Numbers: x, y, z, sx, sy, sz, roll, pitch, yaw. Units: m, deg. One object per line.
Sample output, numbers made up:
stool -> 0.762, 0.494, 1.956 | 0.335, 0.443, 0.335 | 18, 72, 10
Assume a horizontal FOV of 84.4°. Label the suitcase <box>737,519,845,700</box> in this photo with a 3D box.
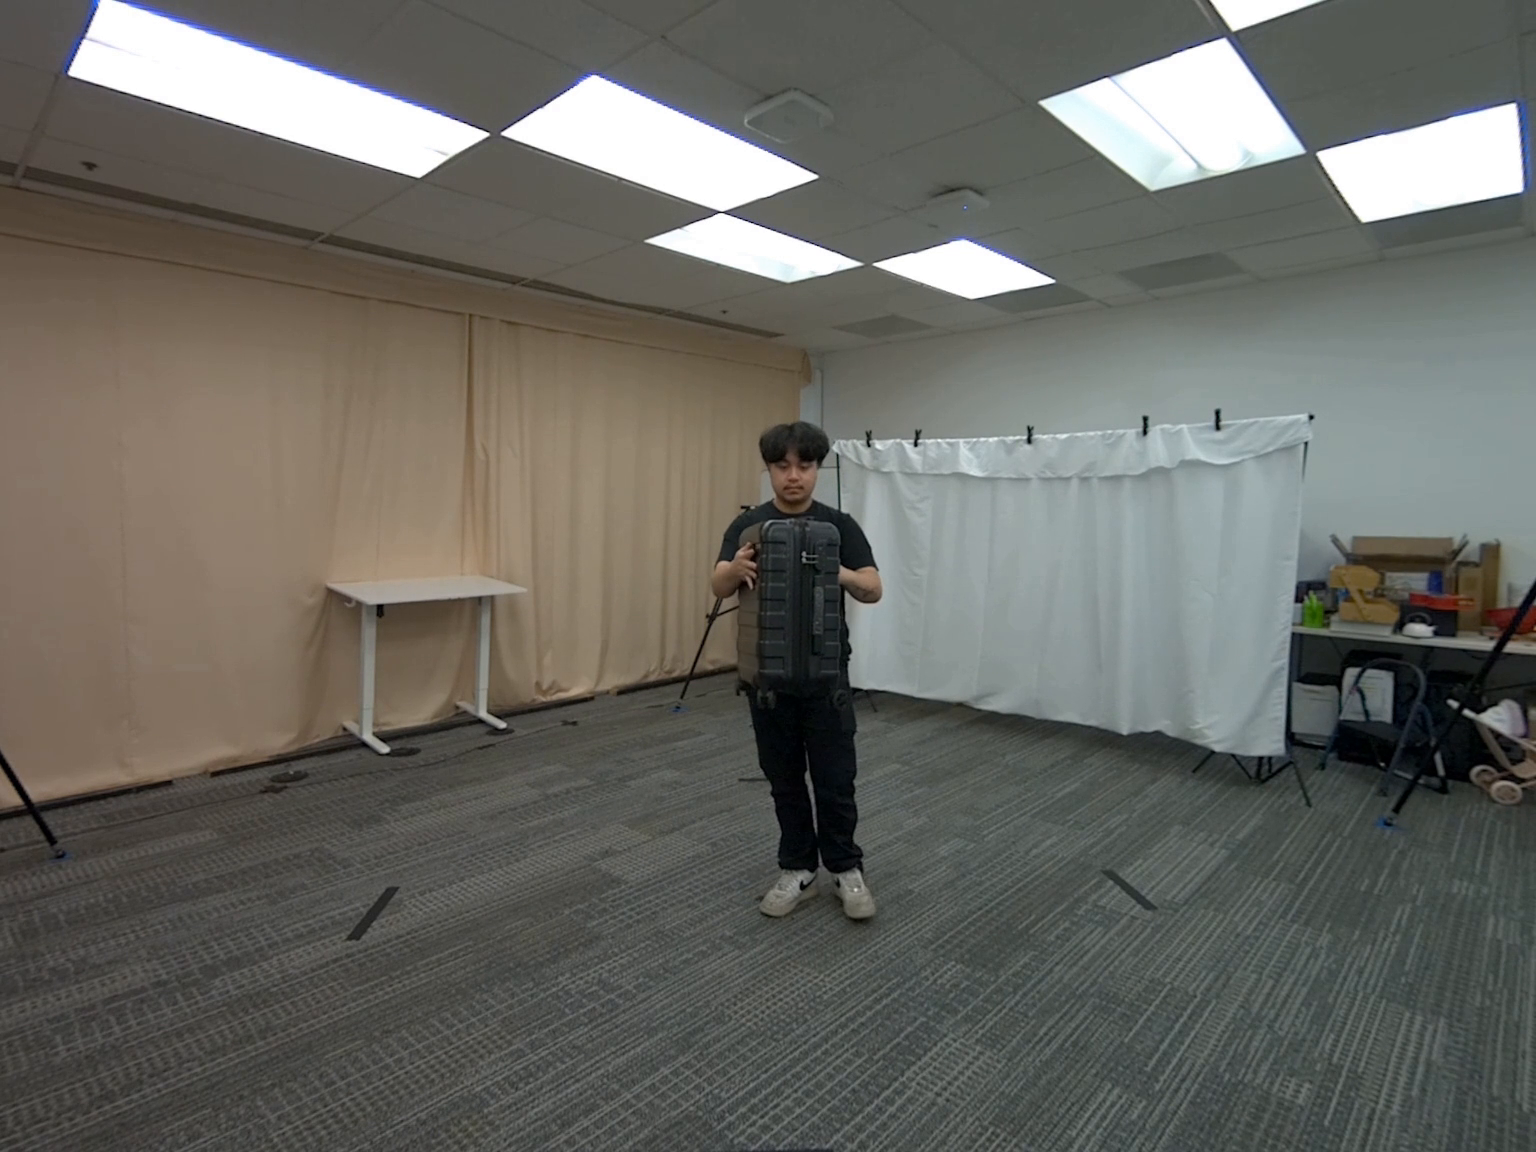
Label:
suitcase -> 0.065, 0.102, 2.533 | 0.244, 0.550, 0.381 | 3, -1, -15
